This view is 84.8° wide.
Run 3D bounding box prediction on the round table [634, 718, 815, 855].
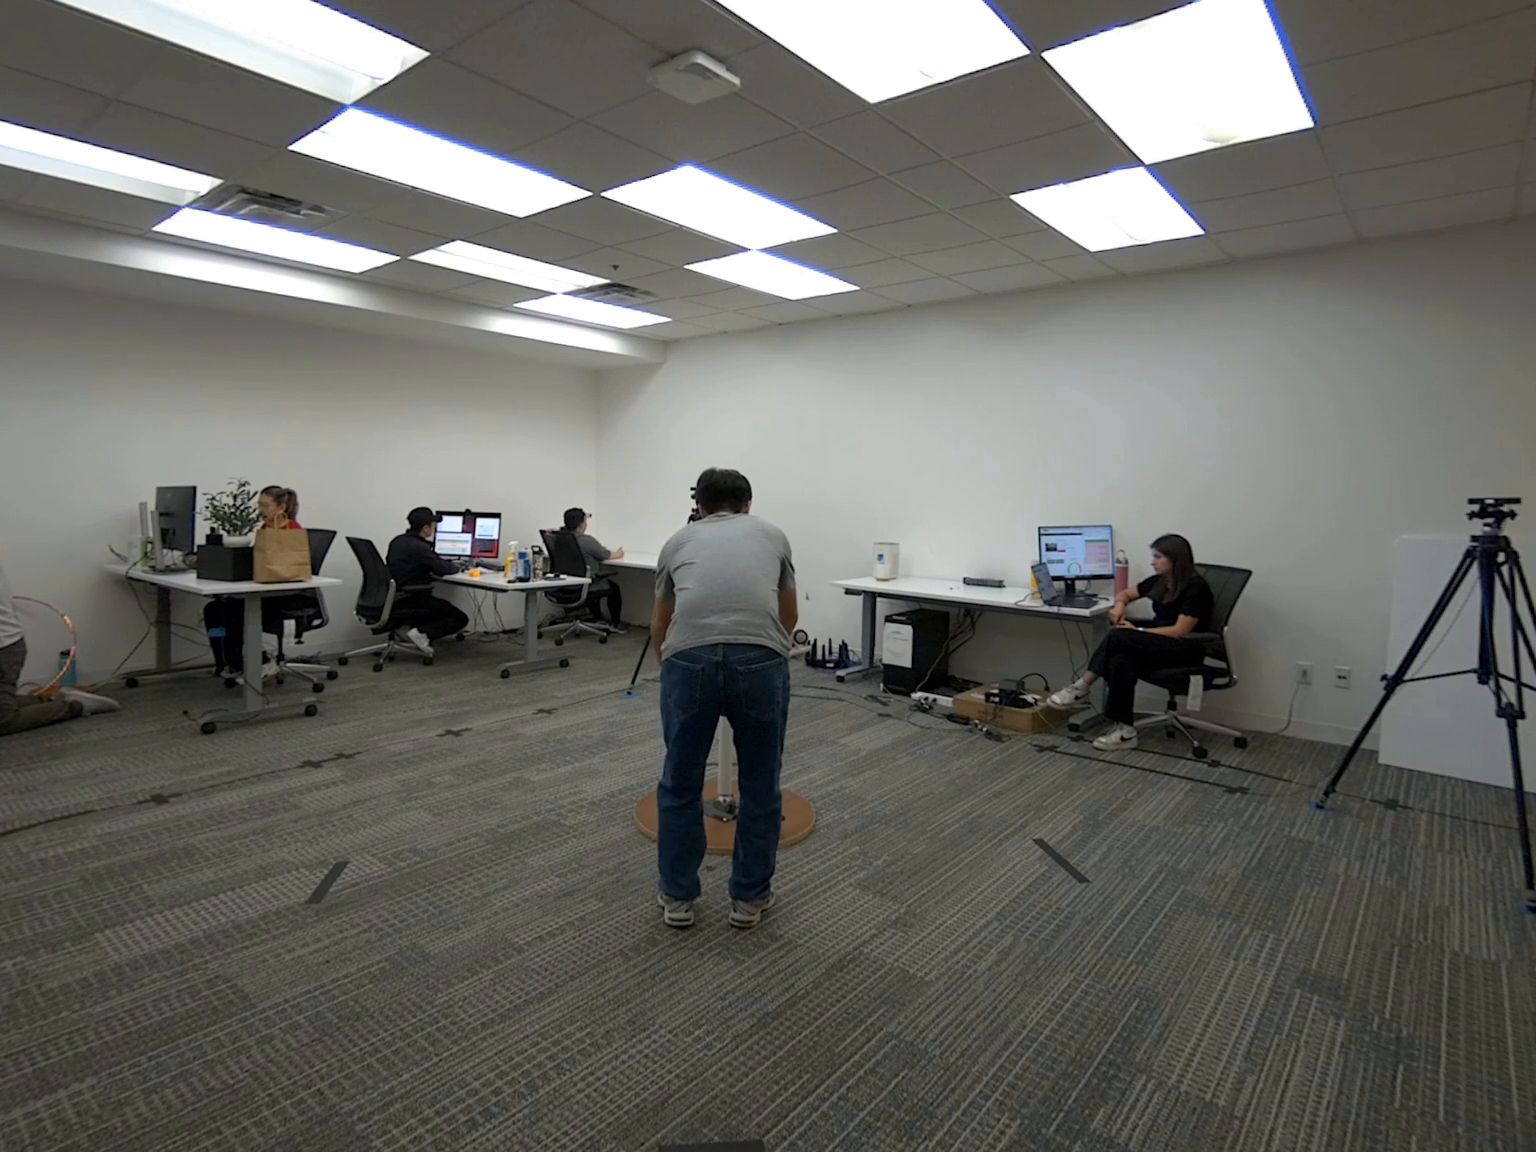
[{"bbox_3d":[-0.174,0.623,3.573,0.763,0.791,0.768,1,4,-2],"label":"round table"}]
